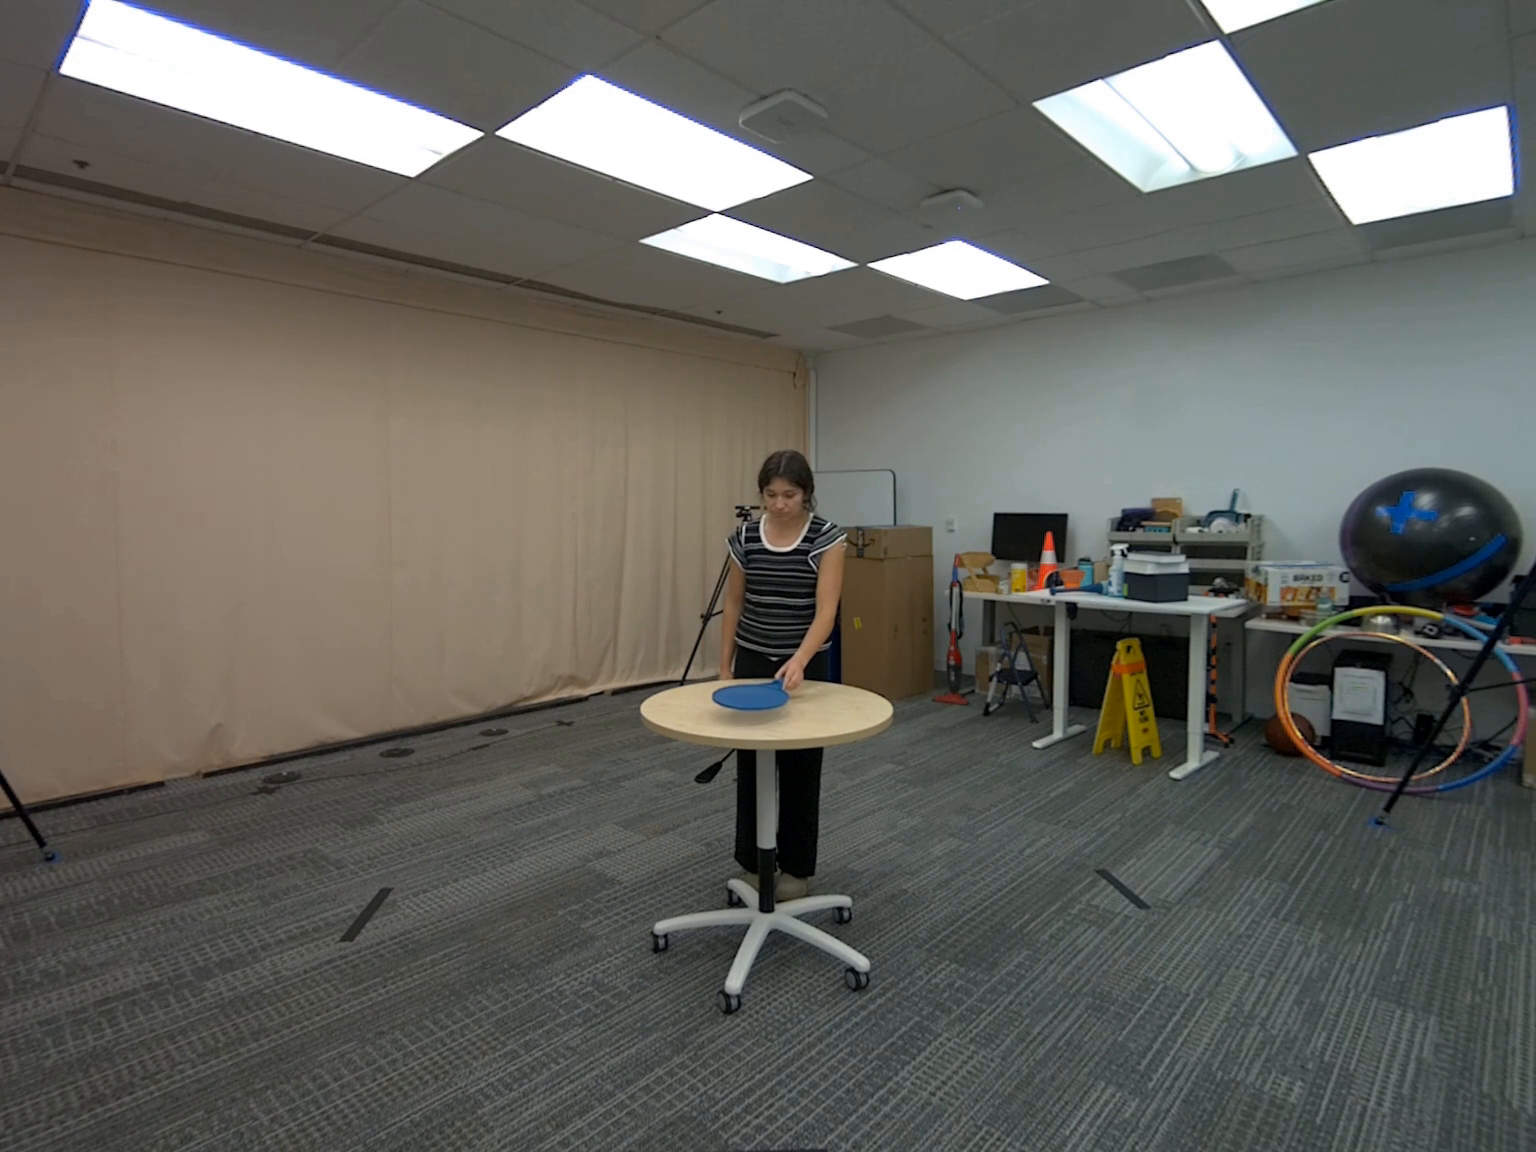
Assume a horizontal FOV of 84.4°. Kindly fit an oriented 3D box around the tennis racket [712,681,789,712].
[{"bbox_3d":[-0.027,0.351,2.502,0.219,0.031,0.424,6,6,20],"label":"tennis racket"}]
